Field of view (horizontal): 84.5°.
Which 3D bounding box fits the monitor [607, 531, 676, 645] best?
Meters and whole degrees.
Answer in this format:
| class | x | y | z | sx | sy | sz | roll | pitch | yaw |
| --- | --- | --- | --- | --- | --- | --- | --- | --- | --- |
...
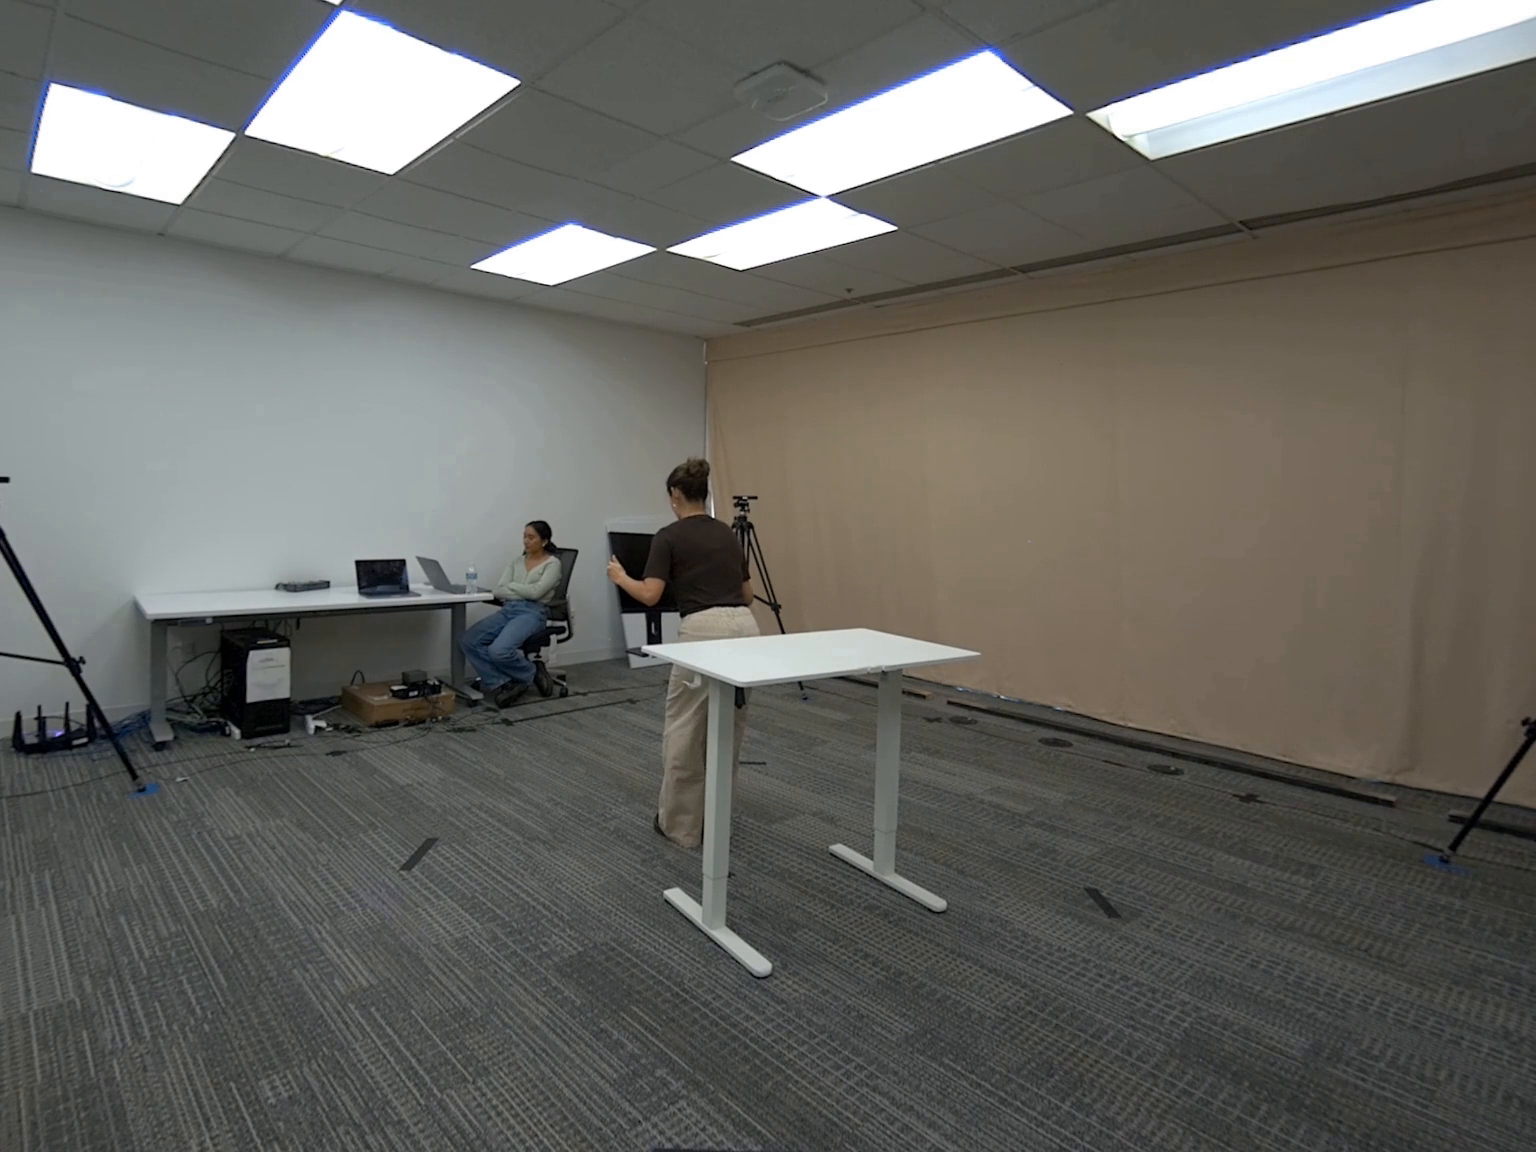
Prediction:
| class | x | y | z | sx | sy | sz | roll | pitch | yaw |
| --- | --- | --- | --- | --- | --- | --- | --- | --- | --- |
| monitor | -0.474 | 0.079 | 3.679 | 0.191 | 0.523 | 0.526 | -1 | -2 | 44 |
